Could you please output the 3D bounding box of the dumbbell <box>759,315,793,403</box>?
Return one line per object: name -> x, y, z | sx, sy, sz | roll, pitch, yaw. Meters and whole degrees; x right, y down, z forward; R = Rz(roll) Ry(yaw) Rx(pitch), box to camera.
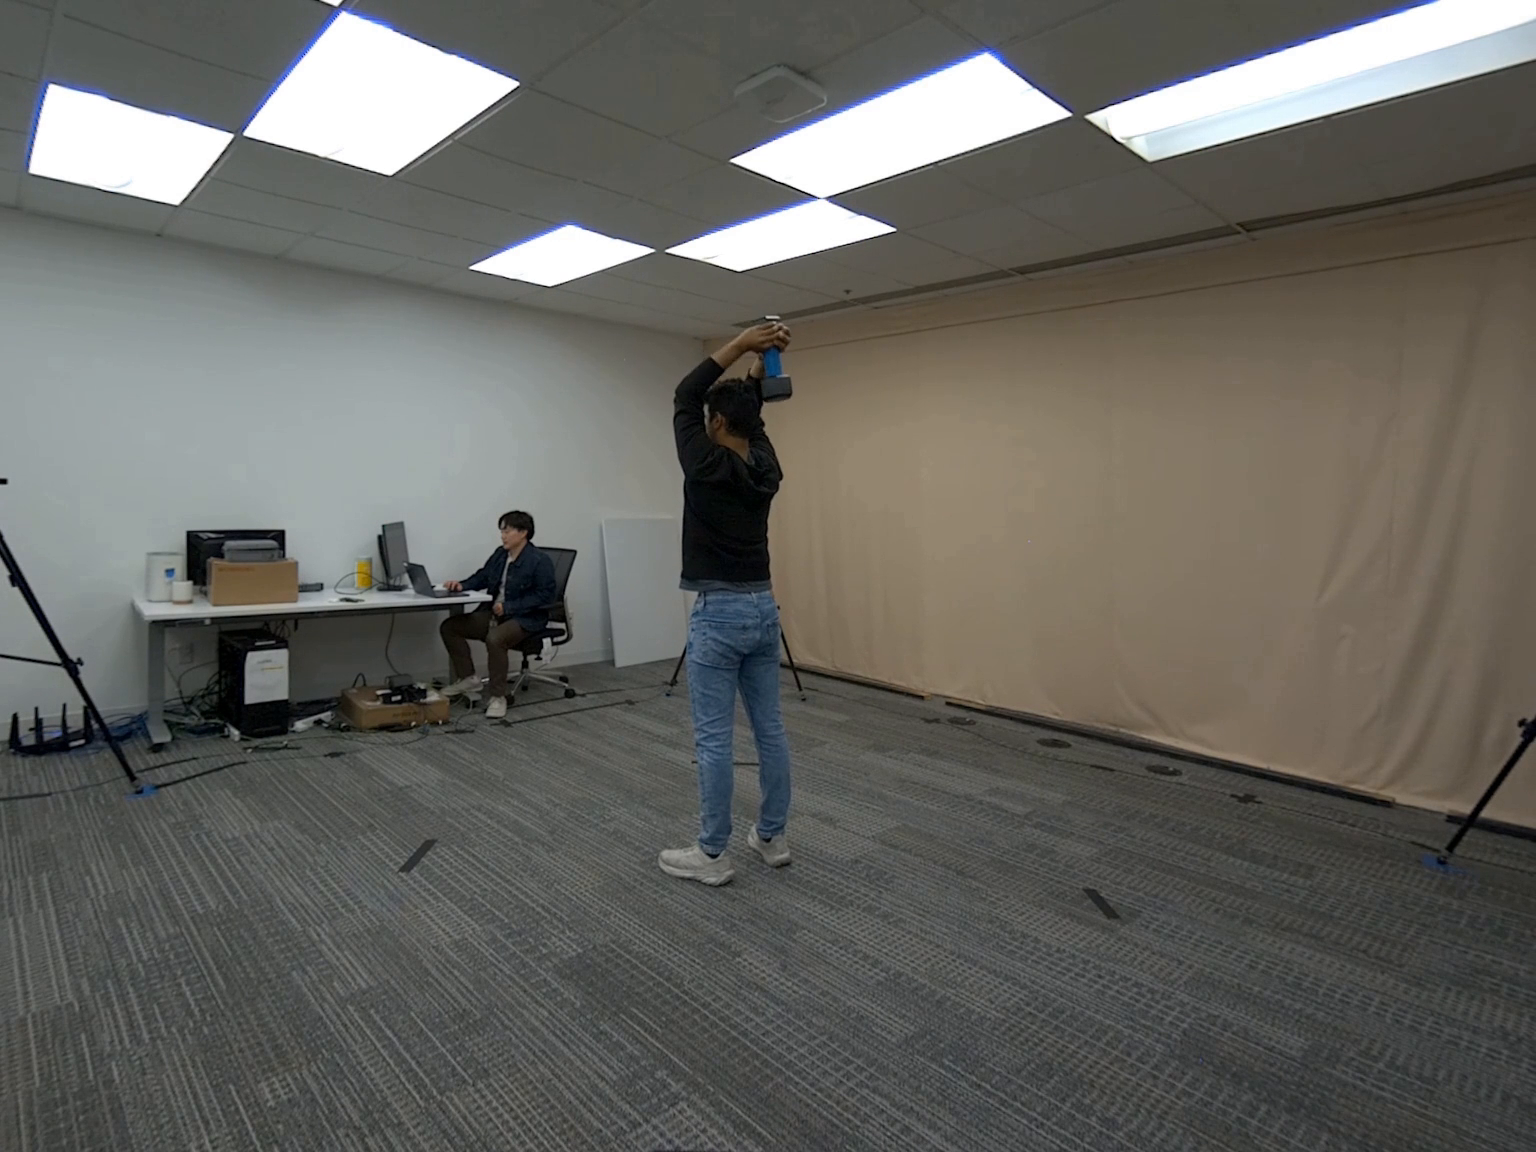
dumbbell -> 0.001, -0.772, 3.027 | 0.121, 0.293, 0.110 | -13, 1, -29
